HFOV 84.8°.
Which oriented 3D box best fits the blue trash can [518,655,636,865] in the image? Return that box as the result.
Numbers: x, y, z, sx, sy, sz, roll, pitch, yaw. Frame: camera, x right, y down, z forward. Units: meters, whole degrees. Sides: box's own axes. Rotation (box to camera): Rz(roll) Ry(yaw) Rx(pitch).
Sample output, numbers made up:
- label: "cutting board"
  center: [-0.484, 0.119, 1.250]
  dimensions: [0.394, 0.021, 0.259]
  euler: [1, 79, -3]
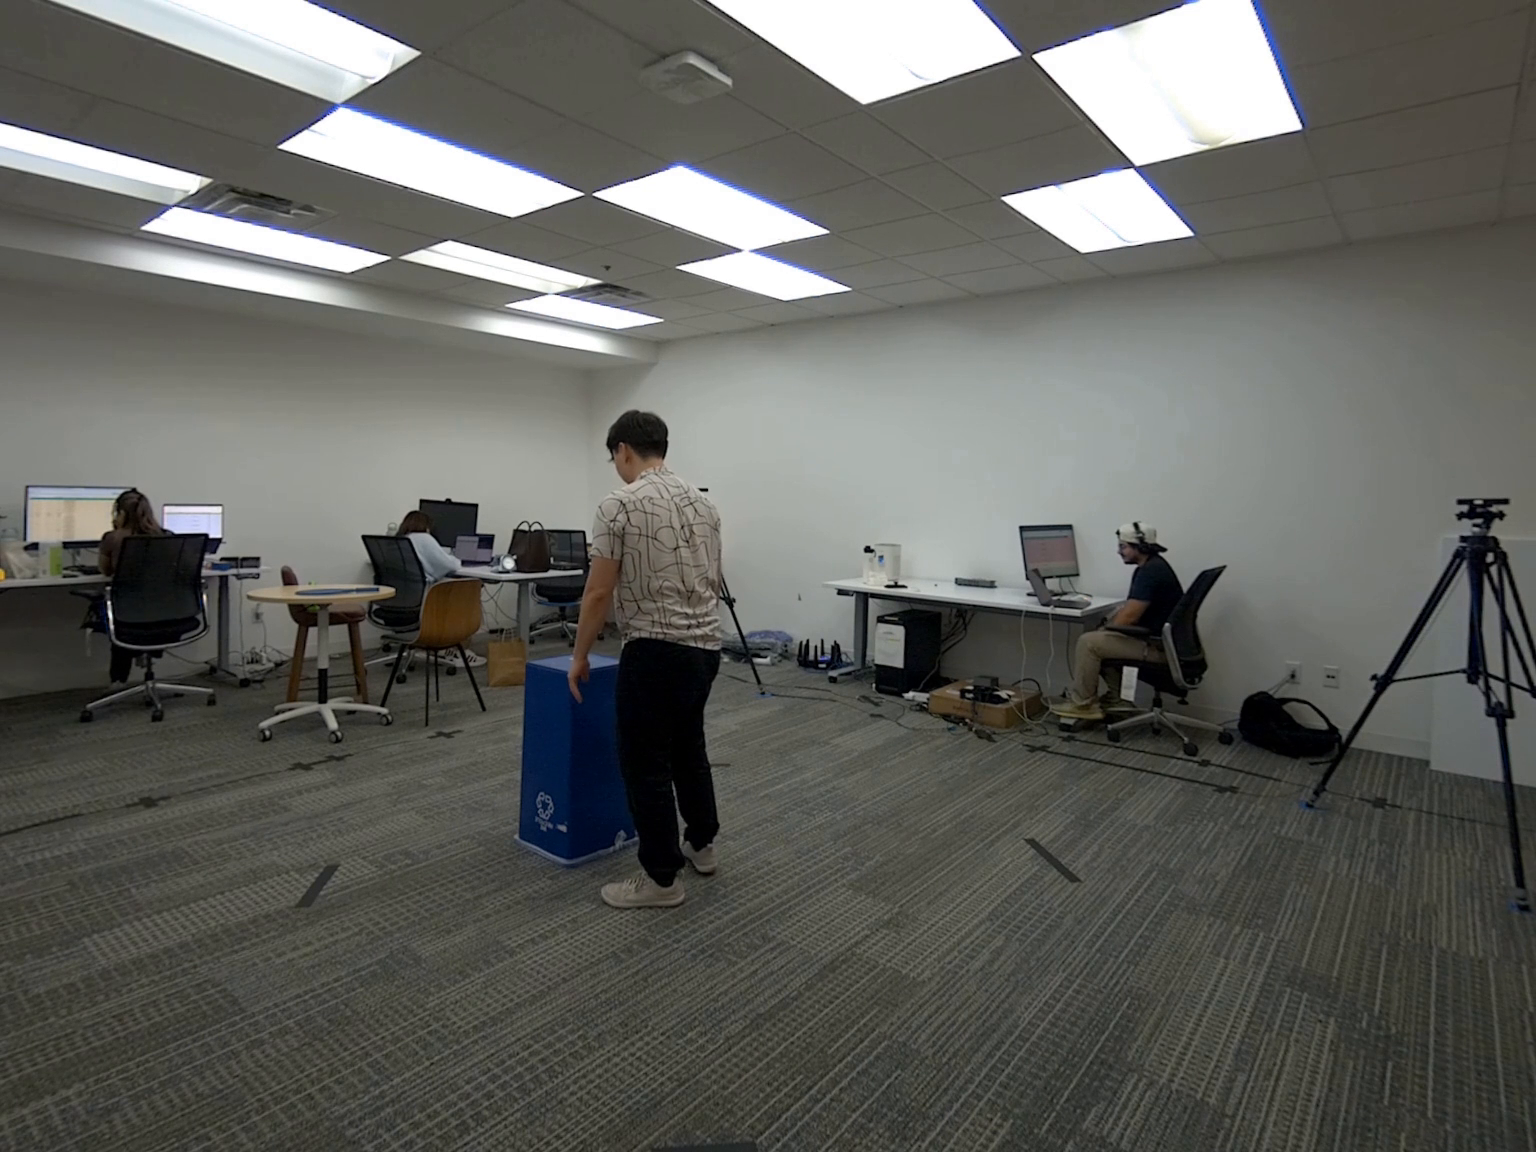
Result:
- label: "blue trash can"
  center: [-0.768, 0.684, 3.324]
  dimensions: [0.390, 0.712, 0.363]
  euler: [2, 3, 42]
